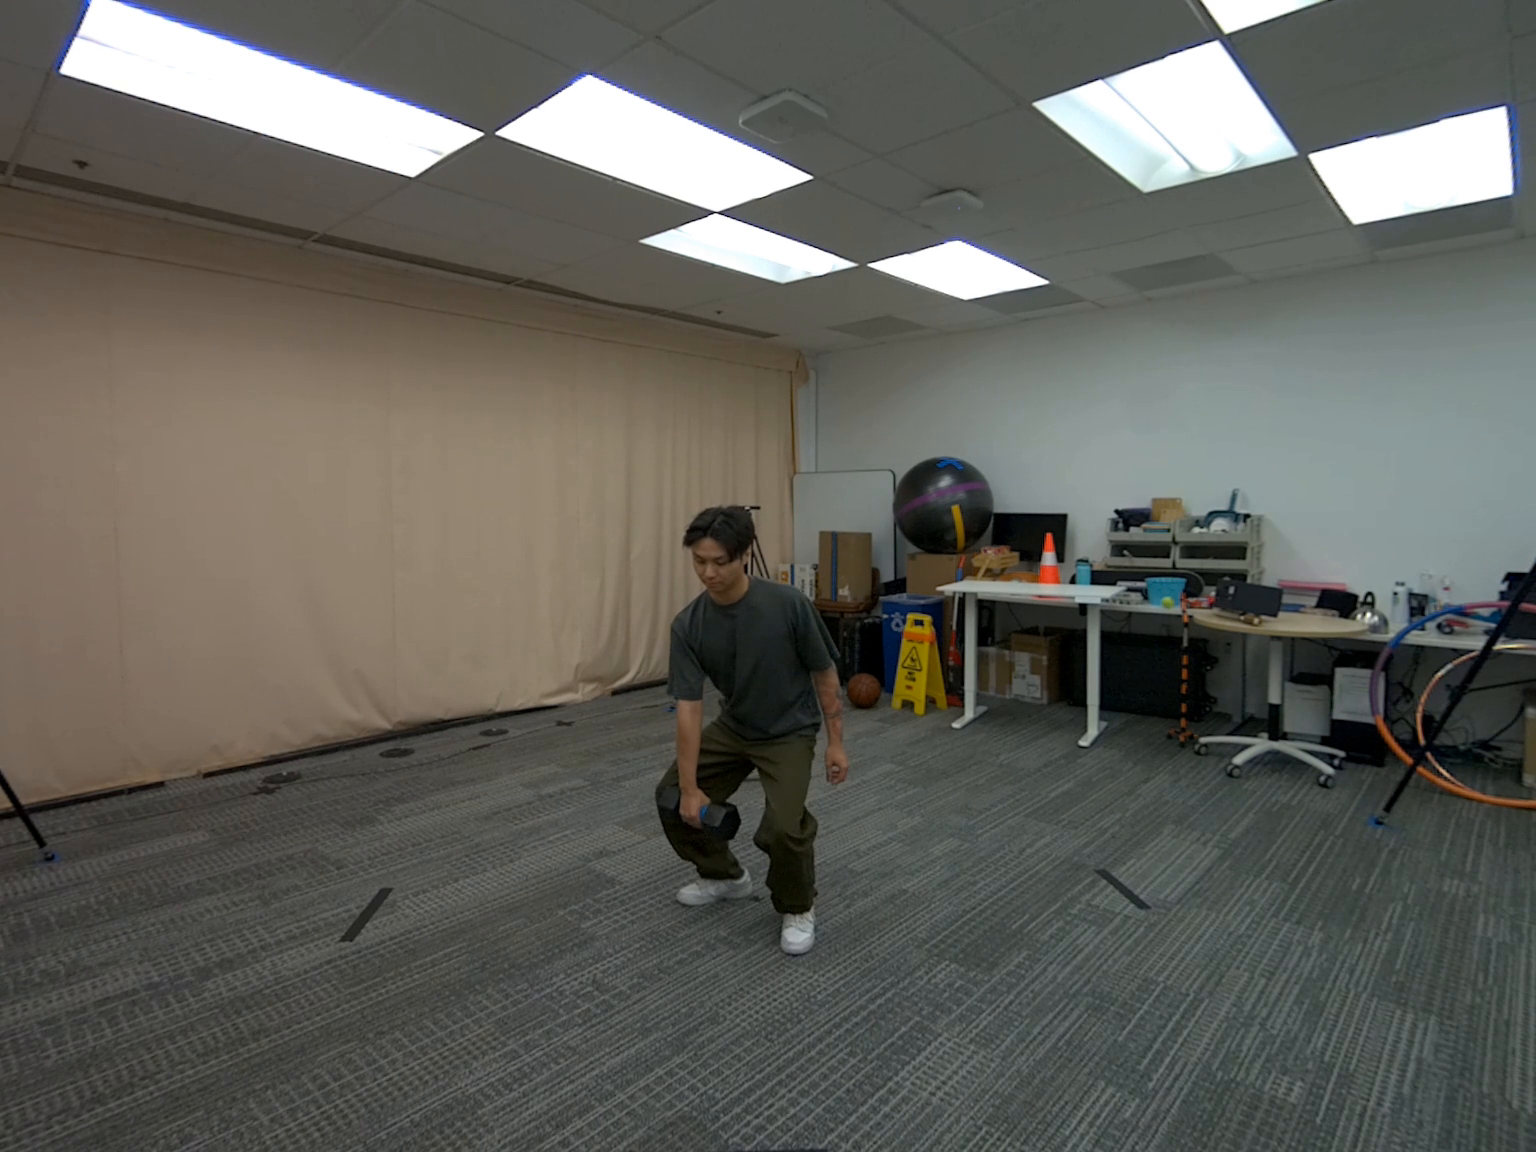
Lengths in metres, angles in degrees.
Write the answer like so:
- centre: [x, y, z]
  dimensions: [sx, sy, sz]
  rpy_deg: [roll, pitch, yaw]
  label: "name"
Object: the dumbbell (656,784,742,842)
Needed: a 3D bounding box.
- centre: [-0.214, 0.768, 2.736]
  dimensions: [0.303, 0.121, 0.107]
  rpy_deg: [3, 28, 44]
  label: "dumbbell"
